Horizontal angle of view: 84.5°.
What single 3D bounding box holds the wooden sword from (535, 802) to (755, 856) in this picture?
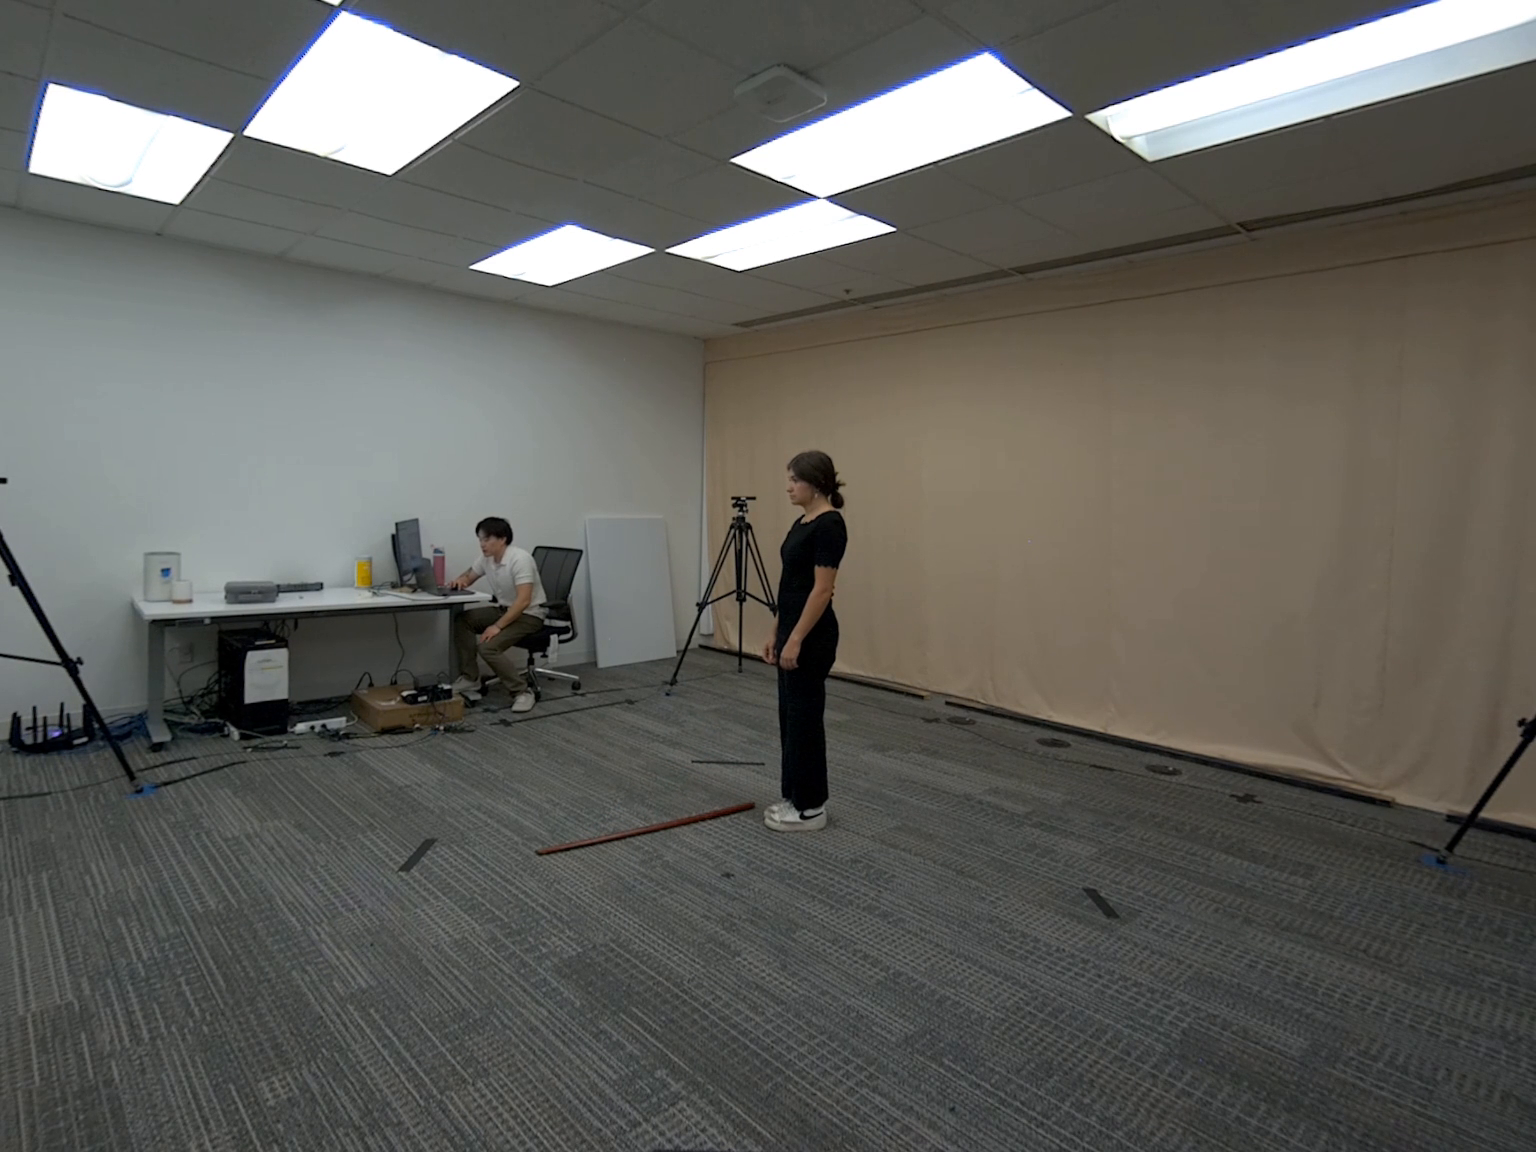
[{"bbox_3d":[-0.469,1.039,3.504,1.003,0.024,0.052,-2,-3,-33],"label":"wooden sword"}]
